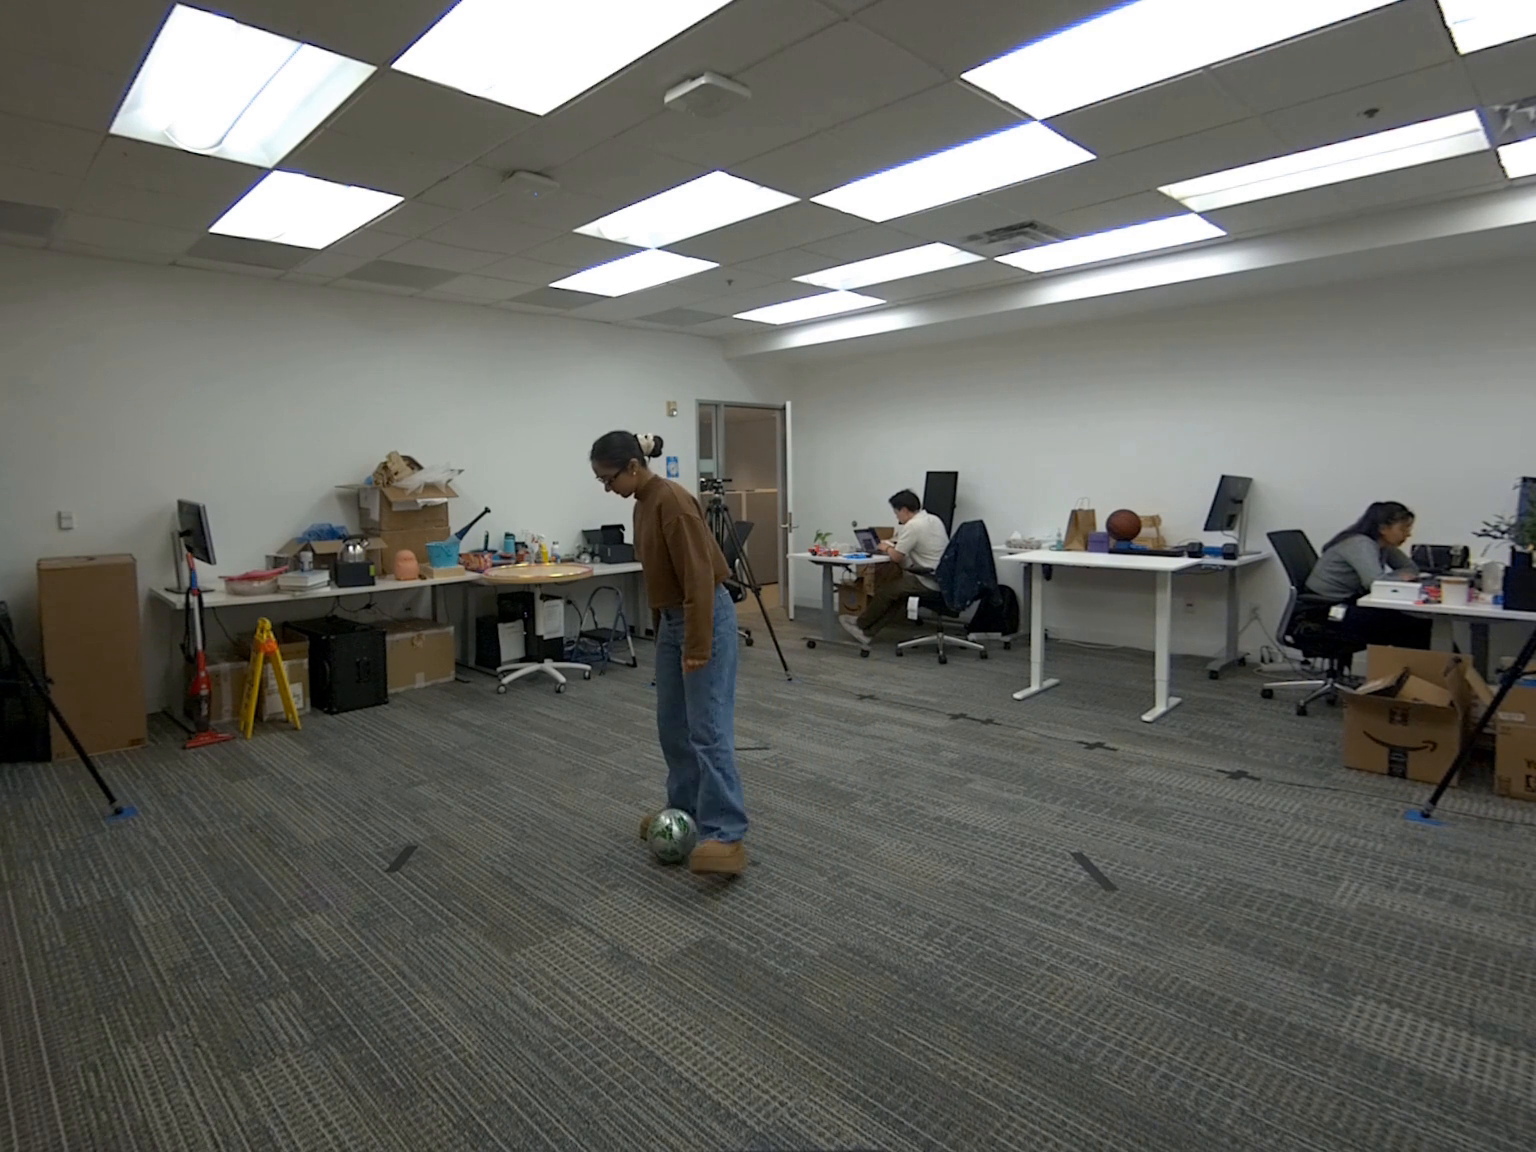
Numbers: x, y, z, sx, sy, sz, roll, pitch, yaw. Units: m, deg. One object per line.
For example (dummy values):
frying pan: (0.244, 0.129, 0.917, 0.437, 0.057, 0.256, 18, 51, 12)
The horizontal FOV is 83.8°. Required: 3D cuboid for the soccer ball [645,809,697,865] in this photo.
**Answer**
soccer ball: (-0.351, 0.960, 3.137, 0.187, 0.187, 0.188, -1, 5, -2)
